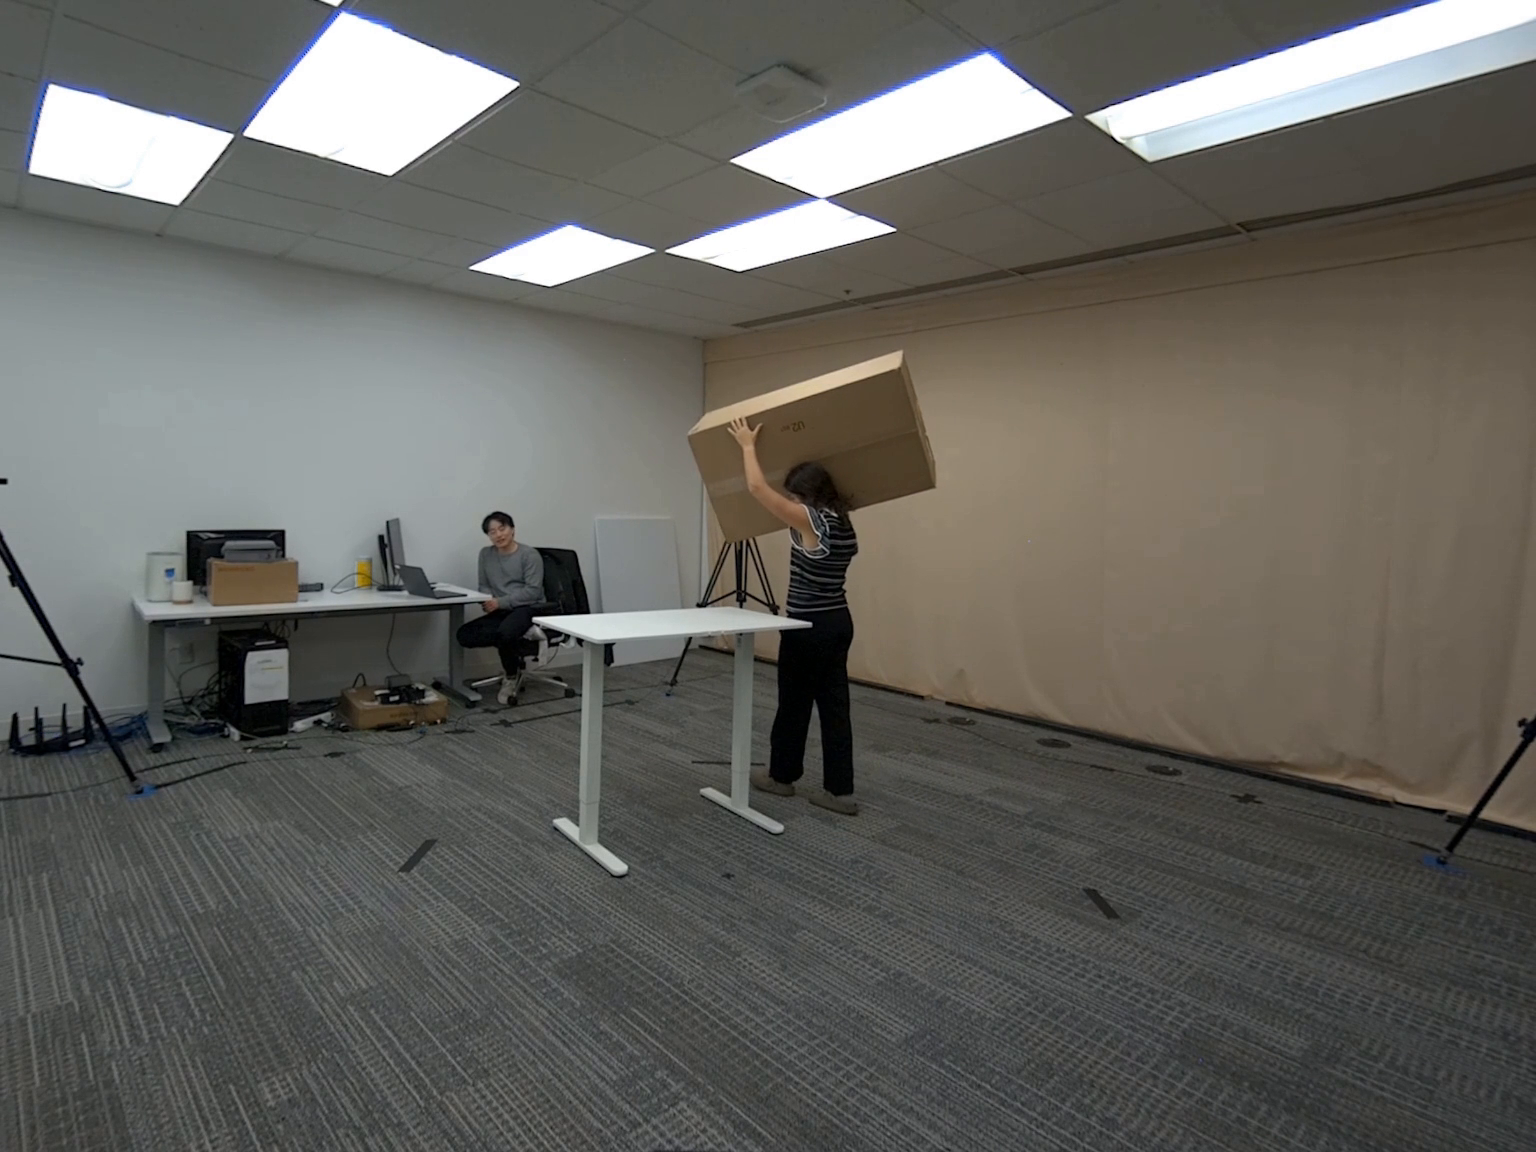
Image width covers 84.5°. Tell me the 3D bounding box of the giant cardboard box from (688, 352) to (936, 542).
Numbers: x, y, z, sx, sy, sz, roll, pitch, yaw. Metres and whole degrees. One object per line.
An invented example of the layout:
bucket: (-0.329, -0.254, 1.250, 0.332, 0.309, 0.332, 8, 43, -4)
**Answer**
giant cardboard box: (0.211, -0.609, 4.025, 1.037, 0.567, 0.429, -14, 20, 18)
